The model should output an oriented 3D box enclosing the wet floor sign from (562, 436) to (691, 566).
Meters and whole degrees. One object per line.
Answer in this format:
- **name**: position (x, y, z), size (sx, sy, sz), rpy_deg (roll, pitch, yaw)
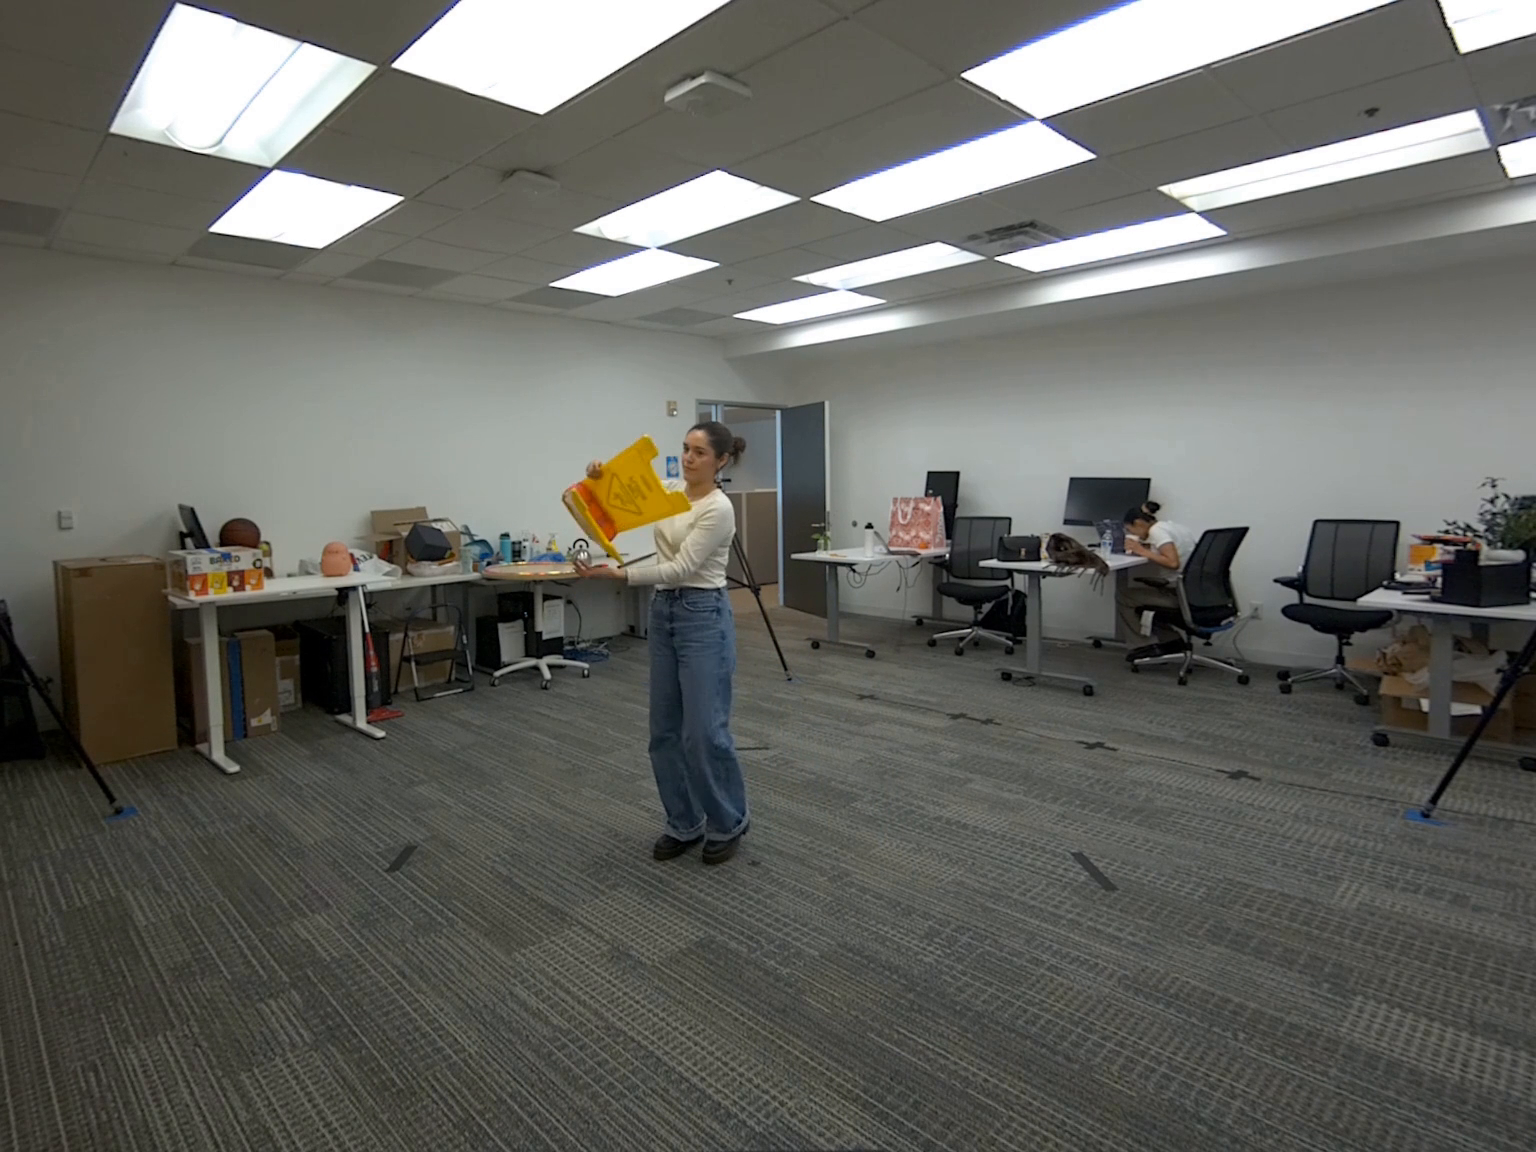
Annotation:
- **wet floor sign**: position (-0.556, -0.230, 2.946), size (0.289, 0.278, 0.659), rpy_deg (-40, 15, -23)
